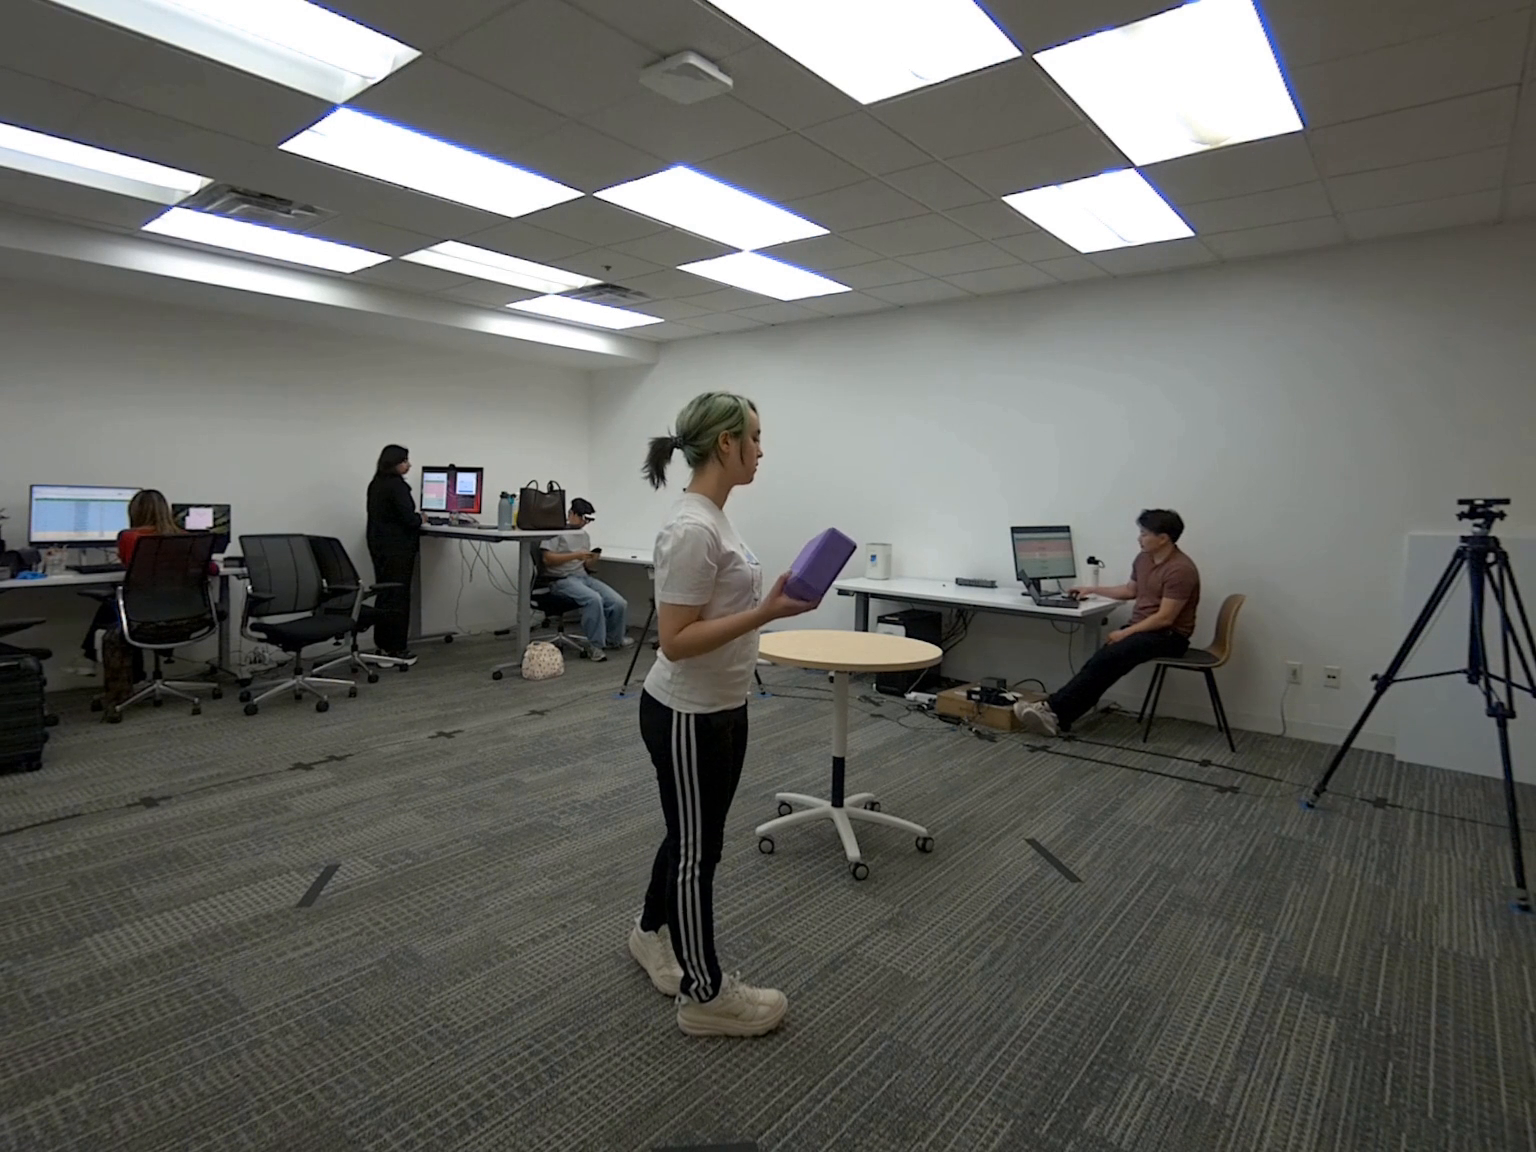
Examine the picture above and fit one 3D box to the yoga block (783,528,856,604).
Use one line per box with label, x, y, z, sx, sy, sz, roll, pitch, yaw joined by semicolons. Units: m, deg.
yoga block;0.102;-0.013;1.937;0.076;0.149;0.230;36;-11;-5
